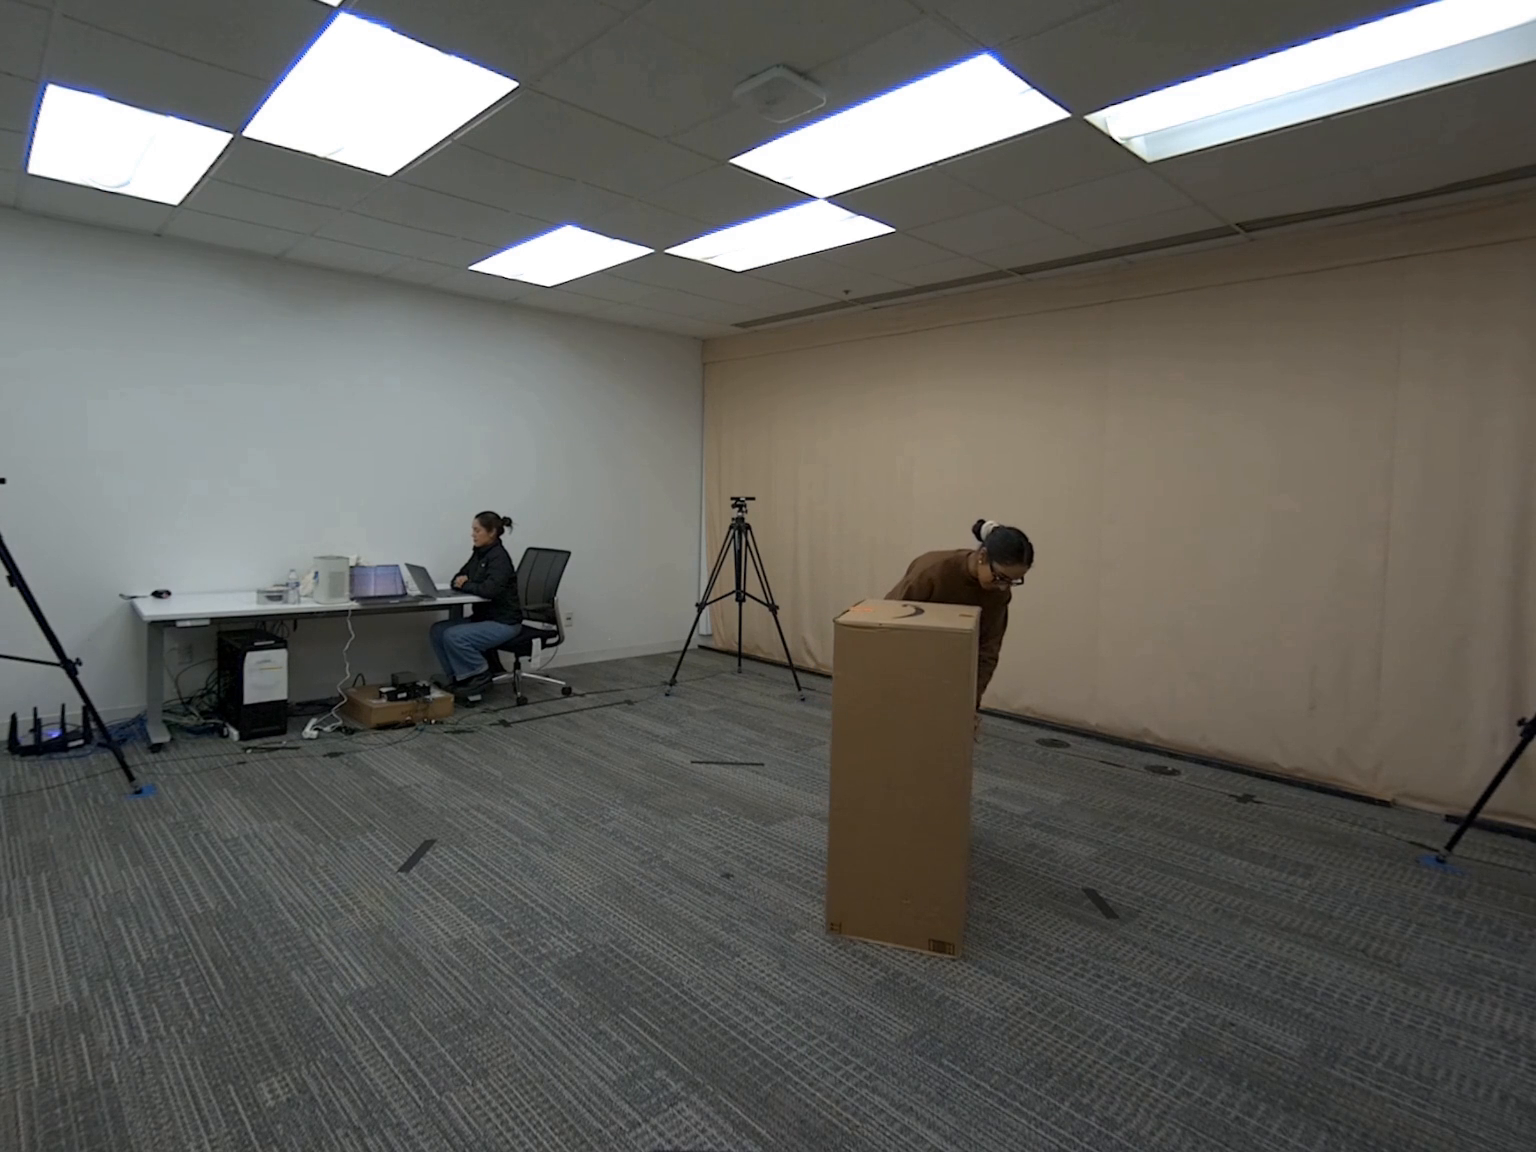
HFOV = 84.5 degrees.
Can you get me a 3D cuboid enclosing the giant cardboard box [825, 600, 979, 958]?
[{"bbox_3d":[0.463,0.633,2.872,0.432,1.023,0.571,2,4,17],"label":"giant cardboard box"}]
